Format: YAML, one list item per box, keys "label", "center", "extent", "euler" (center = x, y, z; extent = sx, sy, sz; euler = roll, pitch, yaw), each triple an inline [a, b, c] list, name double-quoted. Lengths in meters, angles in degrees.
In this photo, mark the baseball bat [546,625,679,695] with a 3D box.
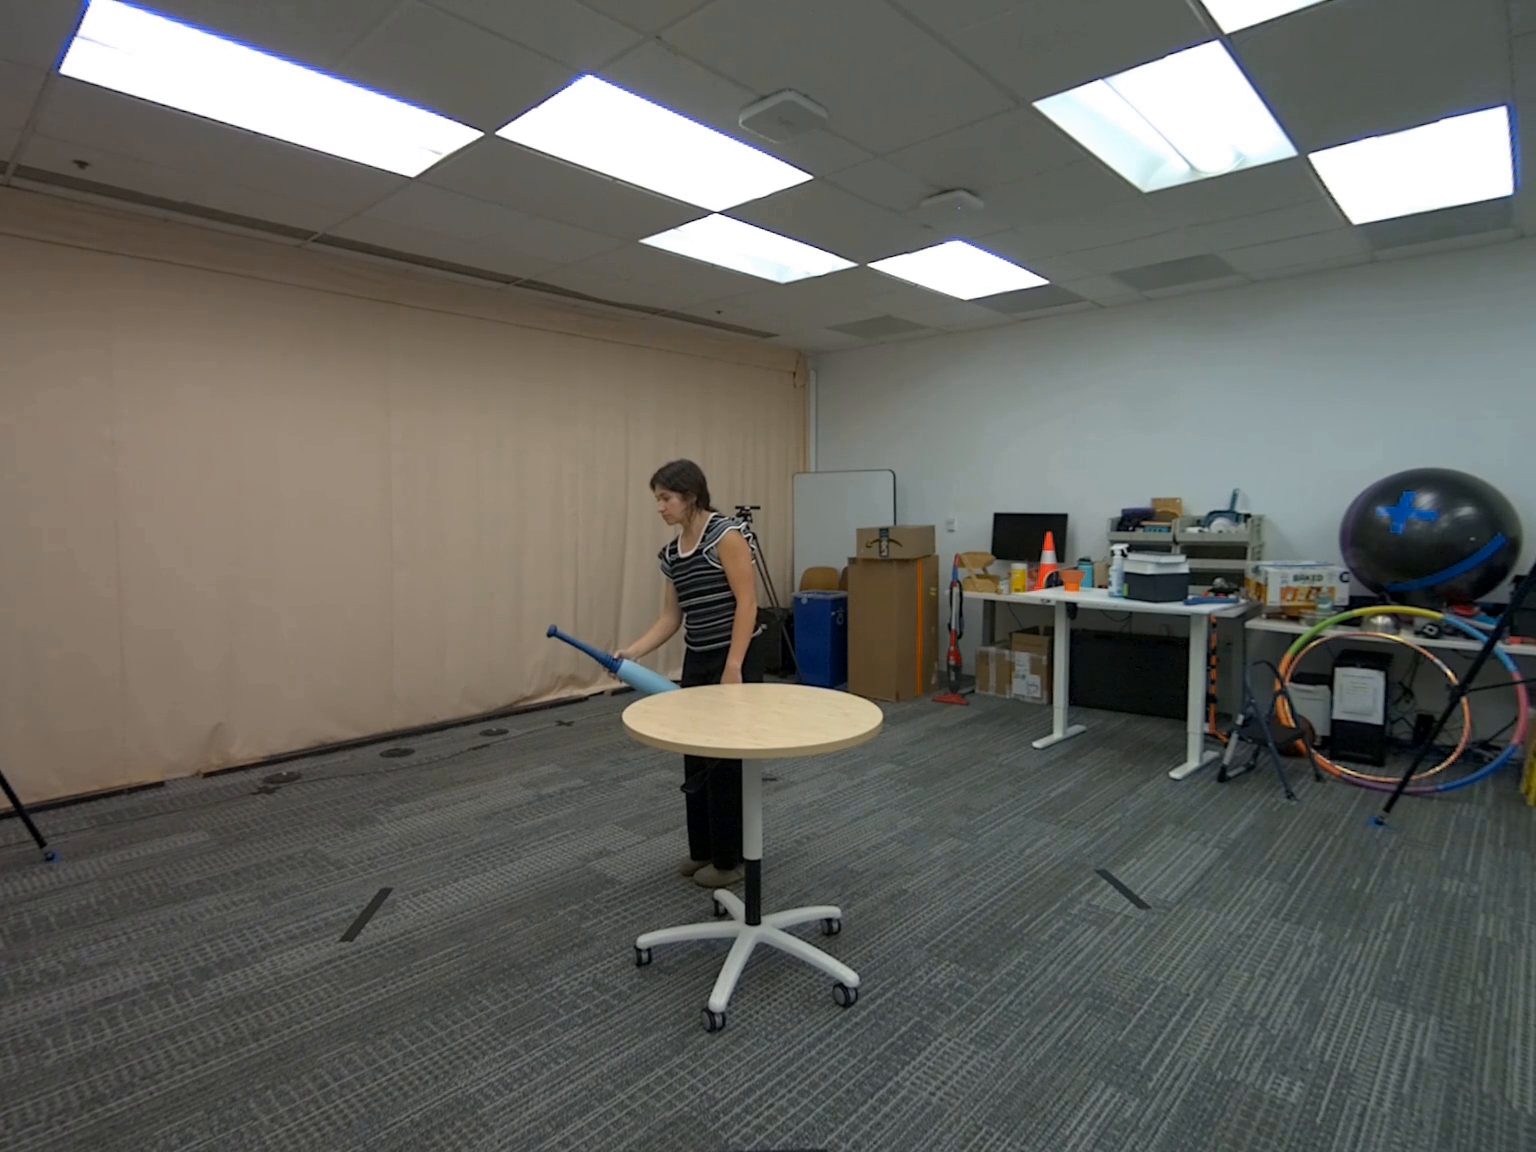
- label: "baseball bat"
  center: [-0.565, 0.324, 3.081]
  extent: [0.536, 0.089, 0.090]
  euler: [30, -3, -10]
